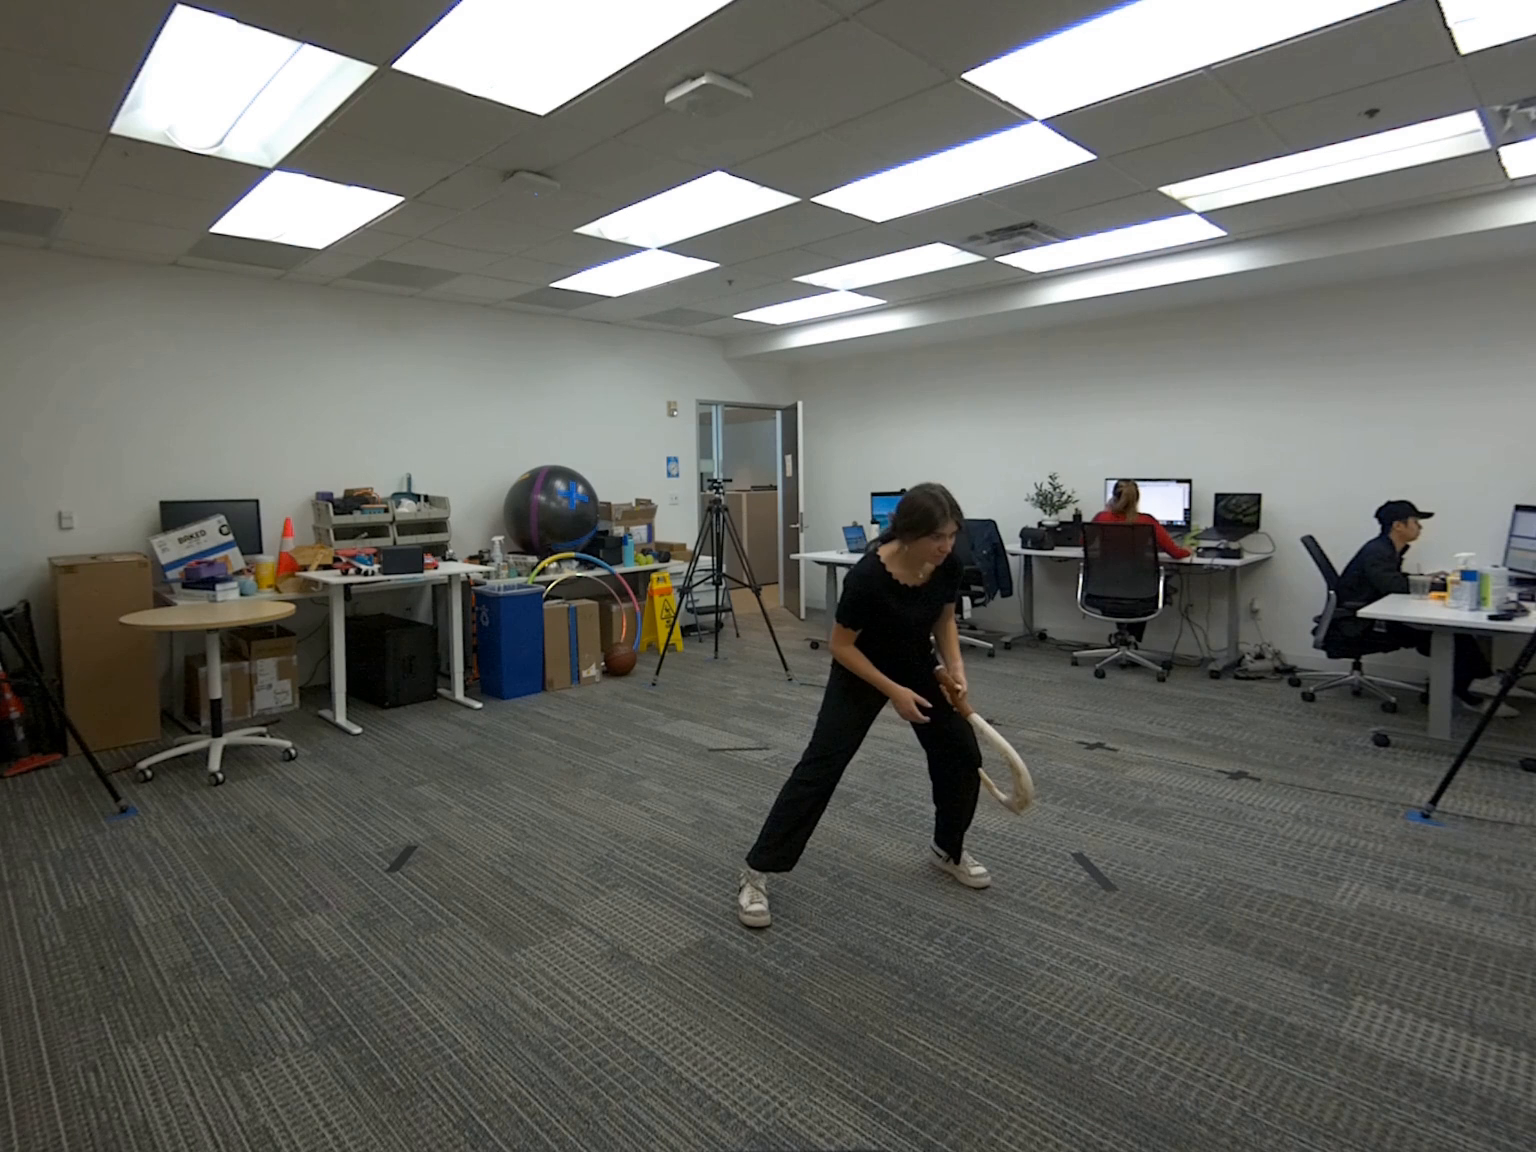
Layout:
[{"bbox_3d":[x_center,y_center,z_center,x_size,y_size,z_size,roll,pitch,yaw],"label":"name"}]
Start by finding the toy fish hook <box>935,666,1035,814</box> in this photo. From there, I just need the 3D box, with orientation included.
[{"bbox_3d":[0.641,0.509,2.675,0.047,0.220,0.526,-8,46,-24],"label":"toy fish hook"}]
